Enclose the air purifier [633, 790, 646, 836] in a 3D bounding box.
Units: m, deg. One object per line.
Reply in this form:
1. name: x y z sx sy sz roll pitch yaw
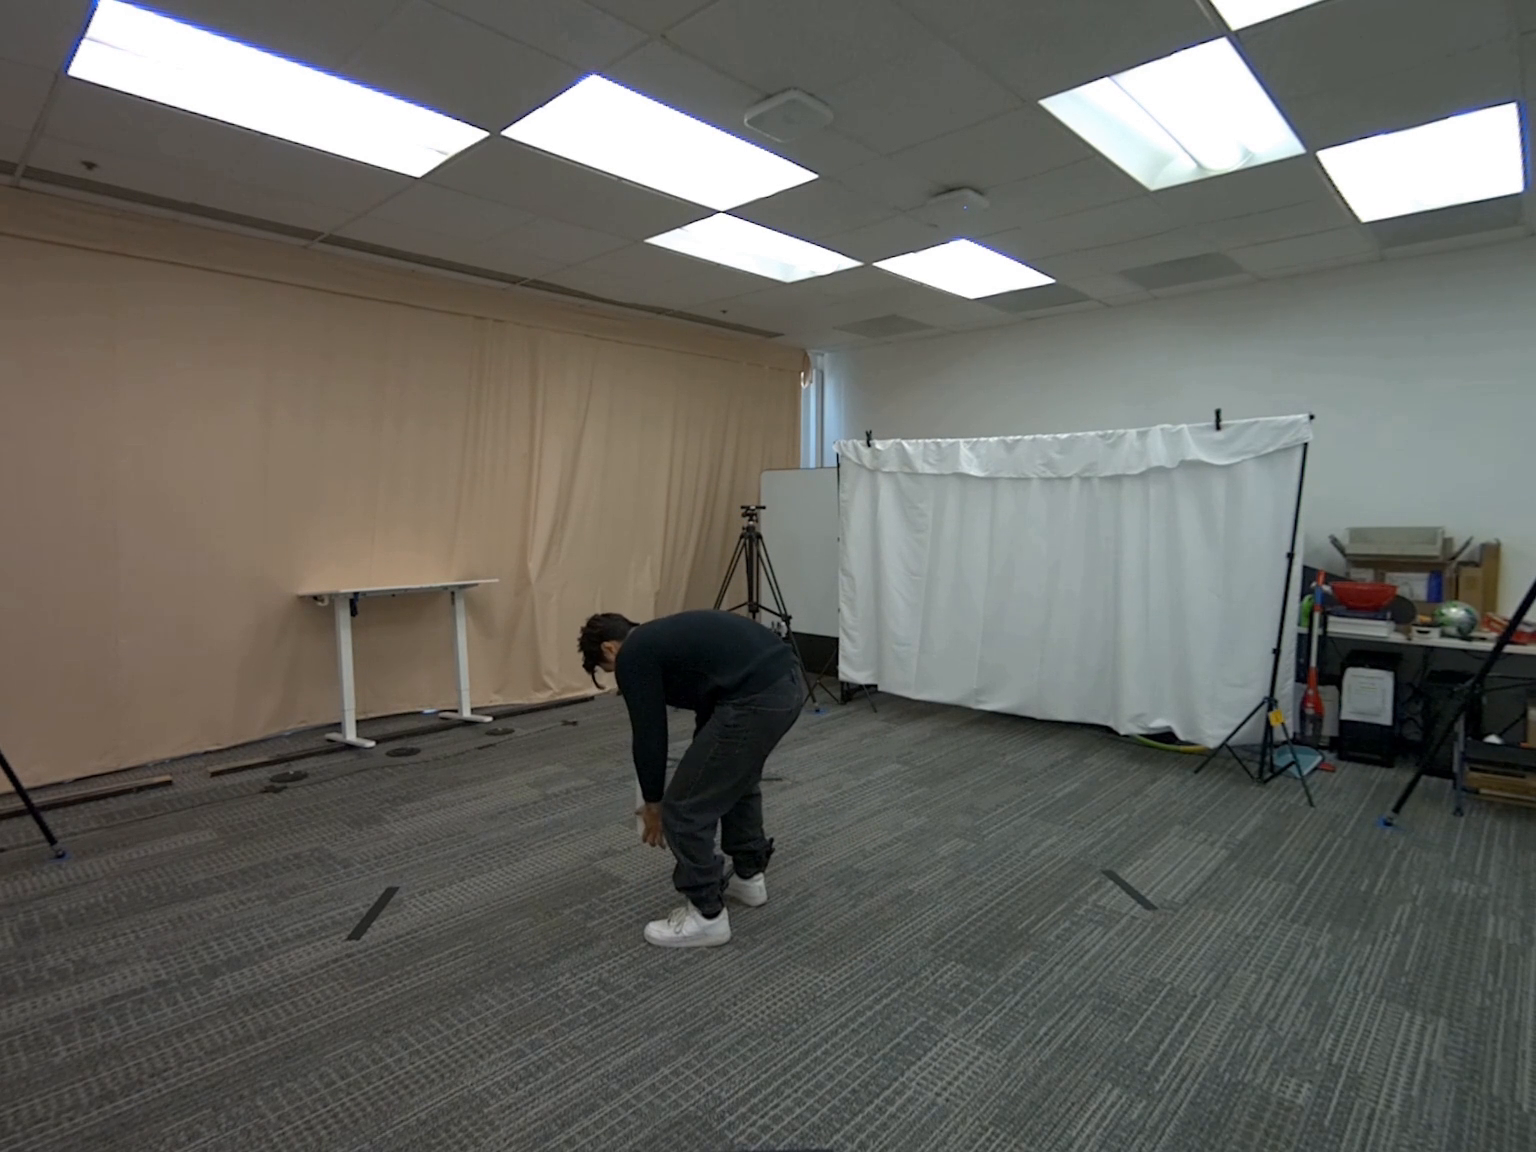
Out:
1. air purifier: -0.352 0.790 2.903 0.176 0.265 0.166 2 5 38
